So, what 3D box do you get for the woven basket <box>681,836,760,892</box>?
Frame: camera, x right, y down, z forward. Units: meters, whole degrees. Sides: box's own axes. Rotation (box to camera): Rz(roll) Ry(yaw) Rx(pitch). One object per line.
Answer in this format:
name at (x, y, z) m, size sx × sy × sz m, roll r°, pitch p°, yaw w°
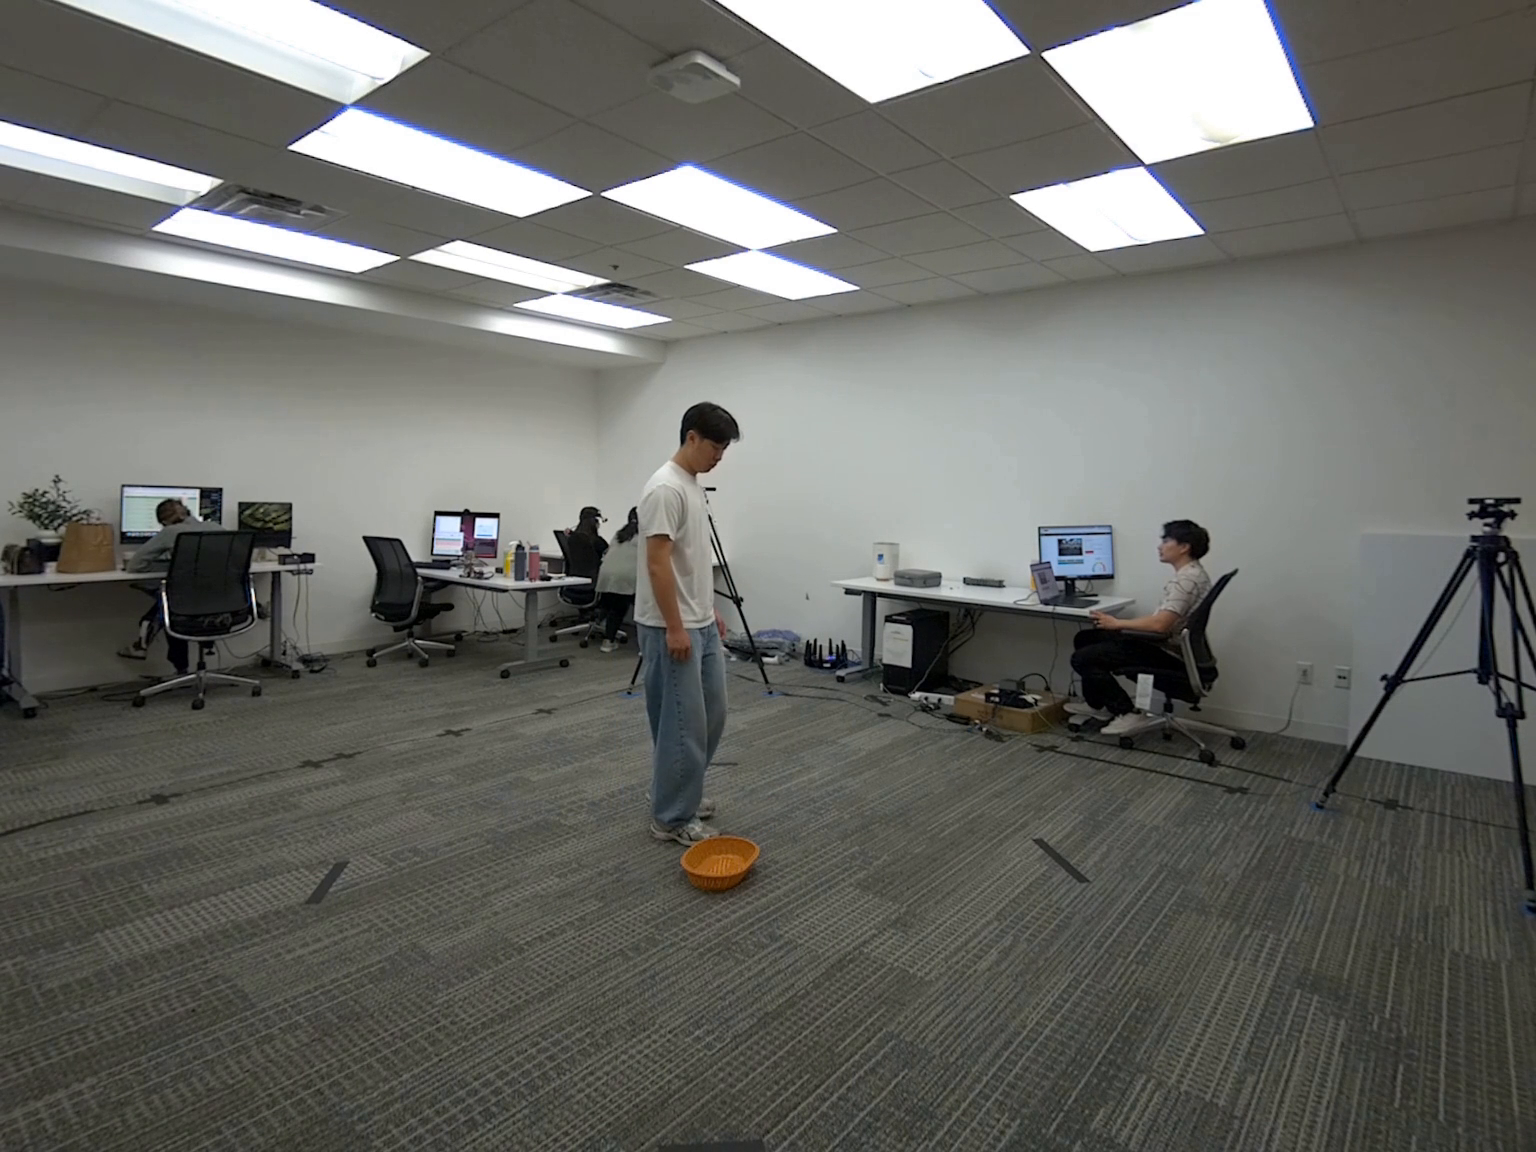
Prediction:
woven basket at (-0.184, 1.030, 3.065) m, size 0.259 × 0.073 × 0.343 m, roll 3°, pitch 6°, yaw 23°
